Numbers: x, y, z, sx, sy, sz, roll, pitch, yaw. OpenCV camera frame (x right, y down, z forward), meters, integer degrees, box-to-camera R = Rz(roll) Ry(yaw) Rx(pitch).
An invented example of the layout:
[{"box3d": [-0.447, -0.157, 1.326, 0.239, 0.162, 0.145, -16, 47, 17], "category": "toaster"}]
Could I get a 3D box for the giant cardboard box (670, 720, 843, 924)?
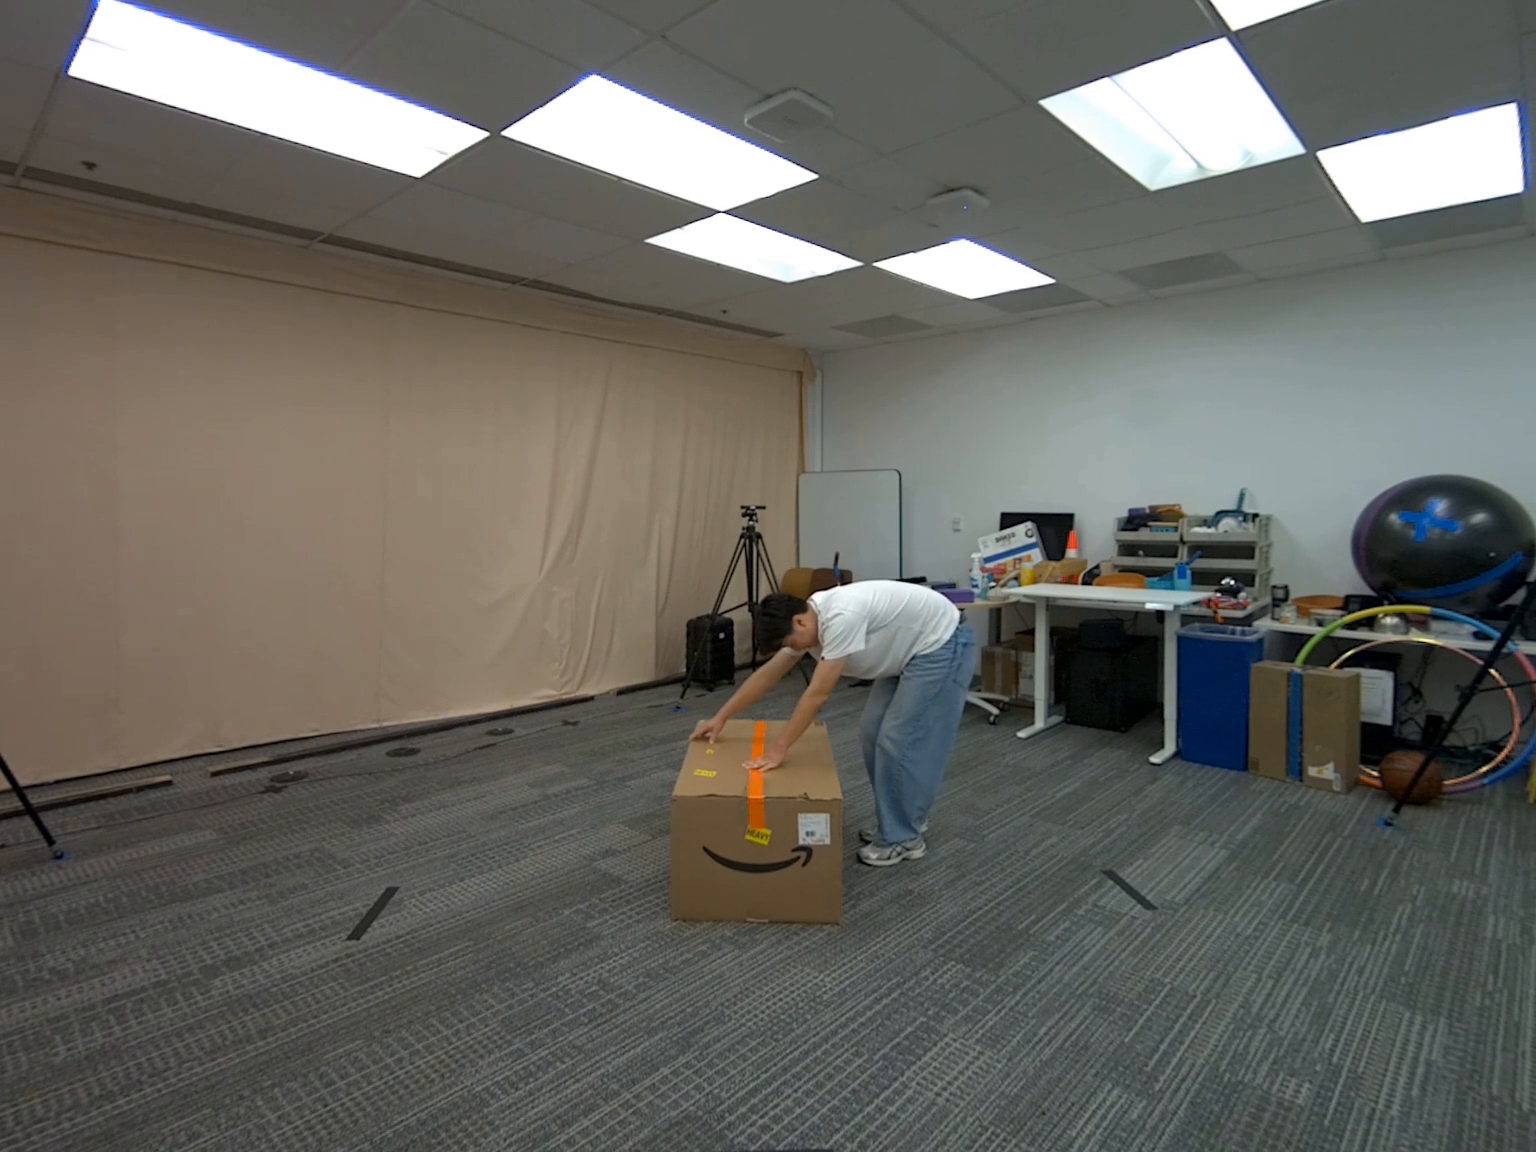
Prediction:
[{"box3d": [-0.031, 0.901, 3.308, 0.579, 0.425, 1.026, -1, 4, 1], "category": "giant cardboard box"}]
